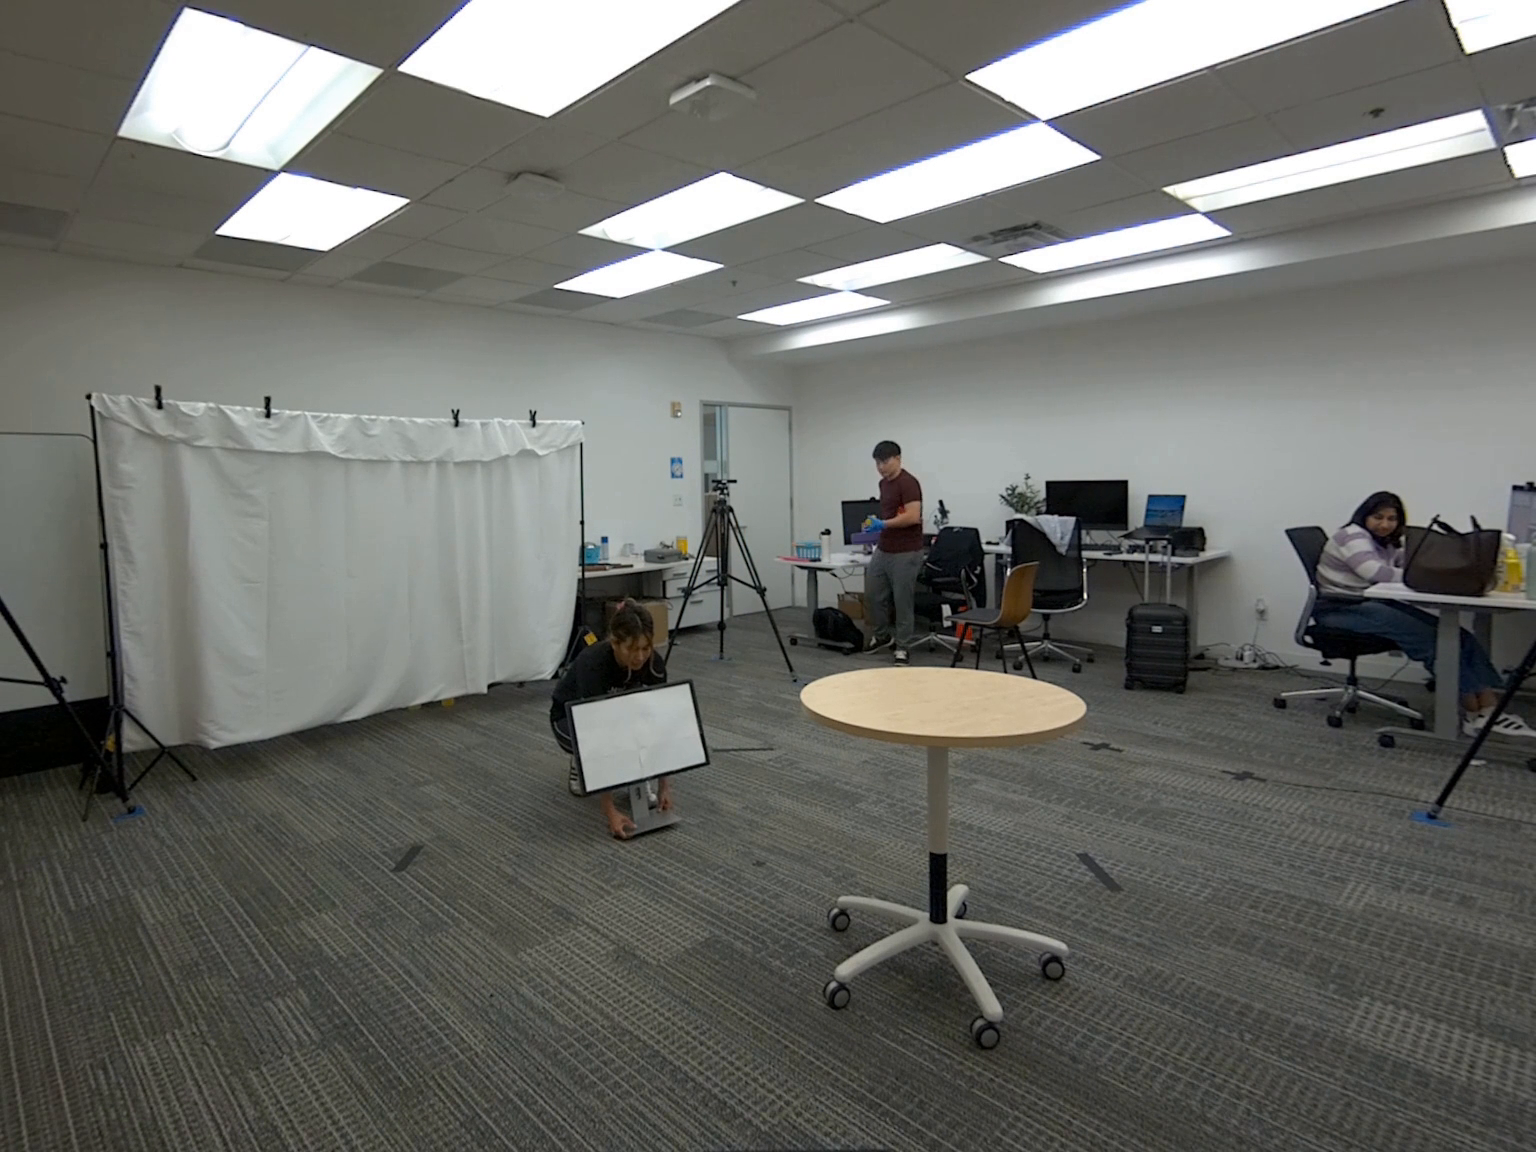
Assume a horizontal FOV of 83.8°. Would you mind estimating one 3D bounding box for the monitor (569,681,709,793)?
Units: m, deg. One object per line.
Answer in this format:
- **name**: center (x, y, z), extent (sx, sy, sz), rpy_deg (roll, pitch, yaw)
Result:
- **monitor**: center (-0.526, 0.735, 3.471), extent (0.526, 0.523, 0.191), rpy_deg (-6, 0, -32)
